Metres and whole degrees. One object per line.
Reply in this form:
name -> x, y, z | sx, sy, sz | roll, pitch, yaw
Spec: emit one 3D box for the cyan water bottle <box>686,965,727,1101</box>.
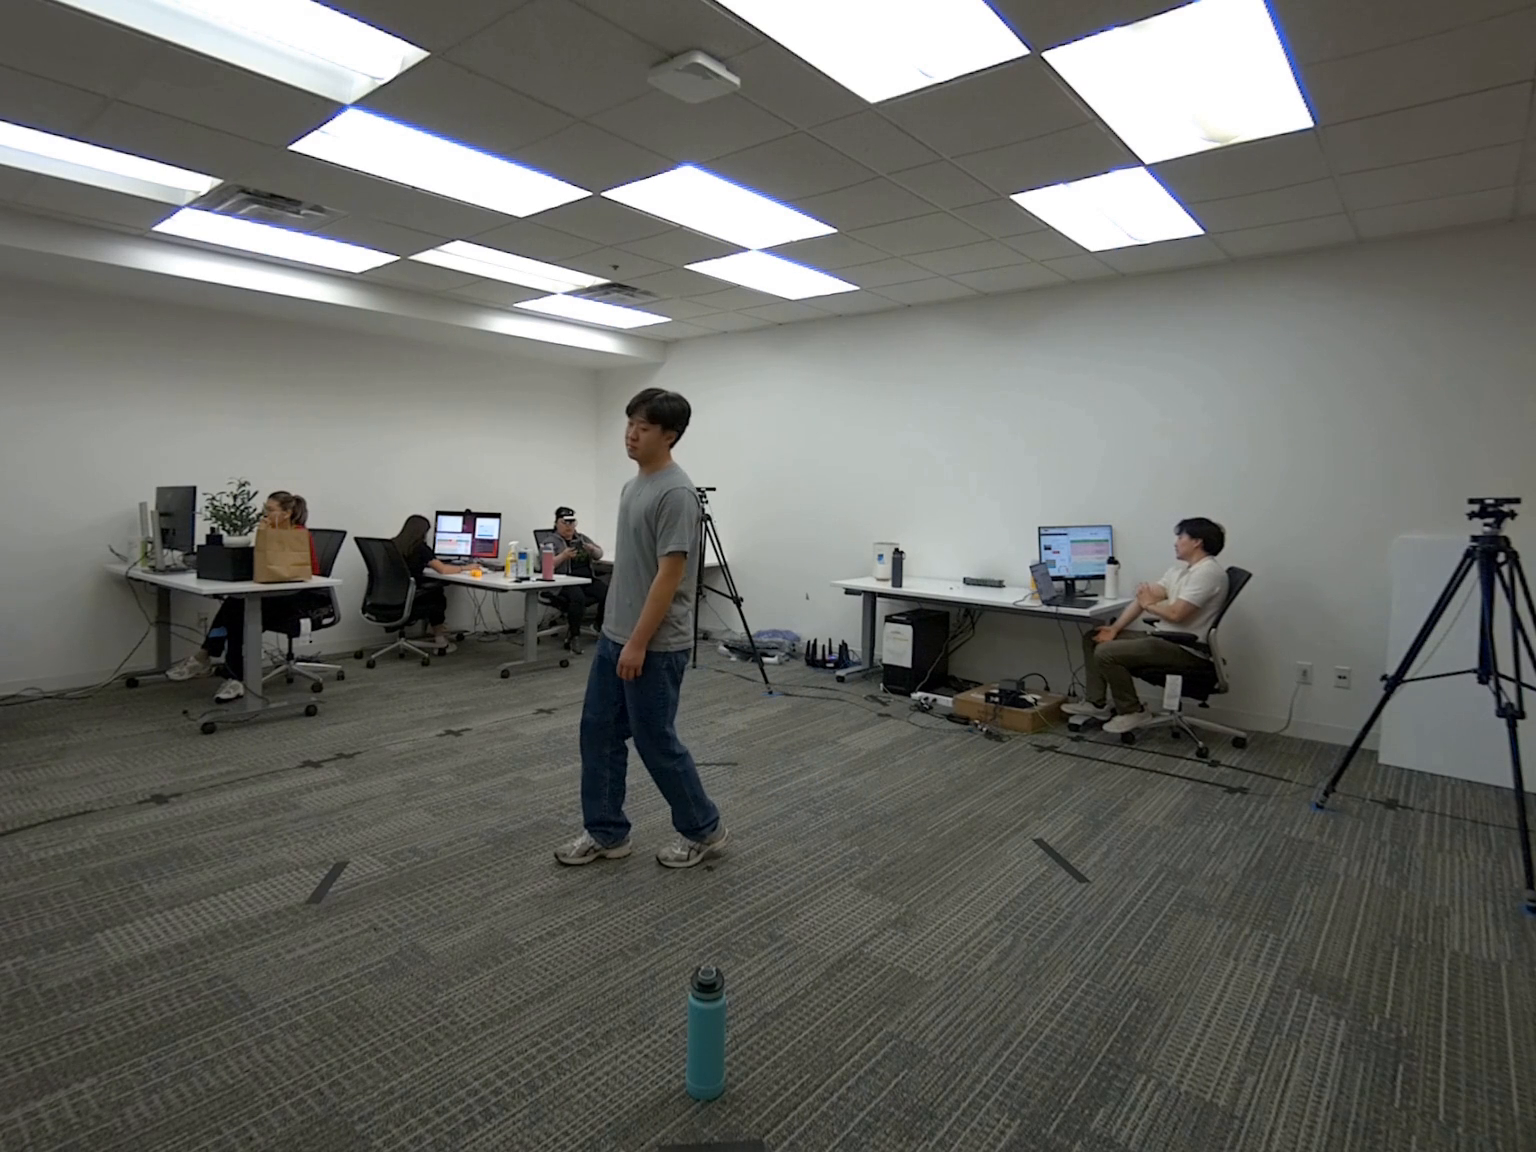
cyan water bottle -> -0.147, 1.043, 1.966 | 0.092, 0.282, 0.093 | 1, 3, -2
